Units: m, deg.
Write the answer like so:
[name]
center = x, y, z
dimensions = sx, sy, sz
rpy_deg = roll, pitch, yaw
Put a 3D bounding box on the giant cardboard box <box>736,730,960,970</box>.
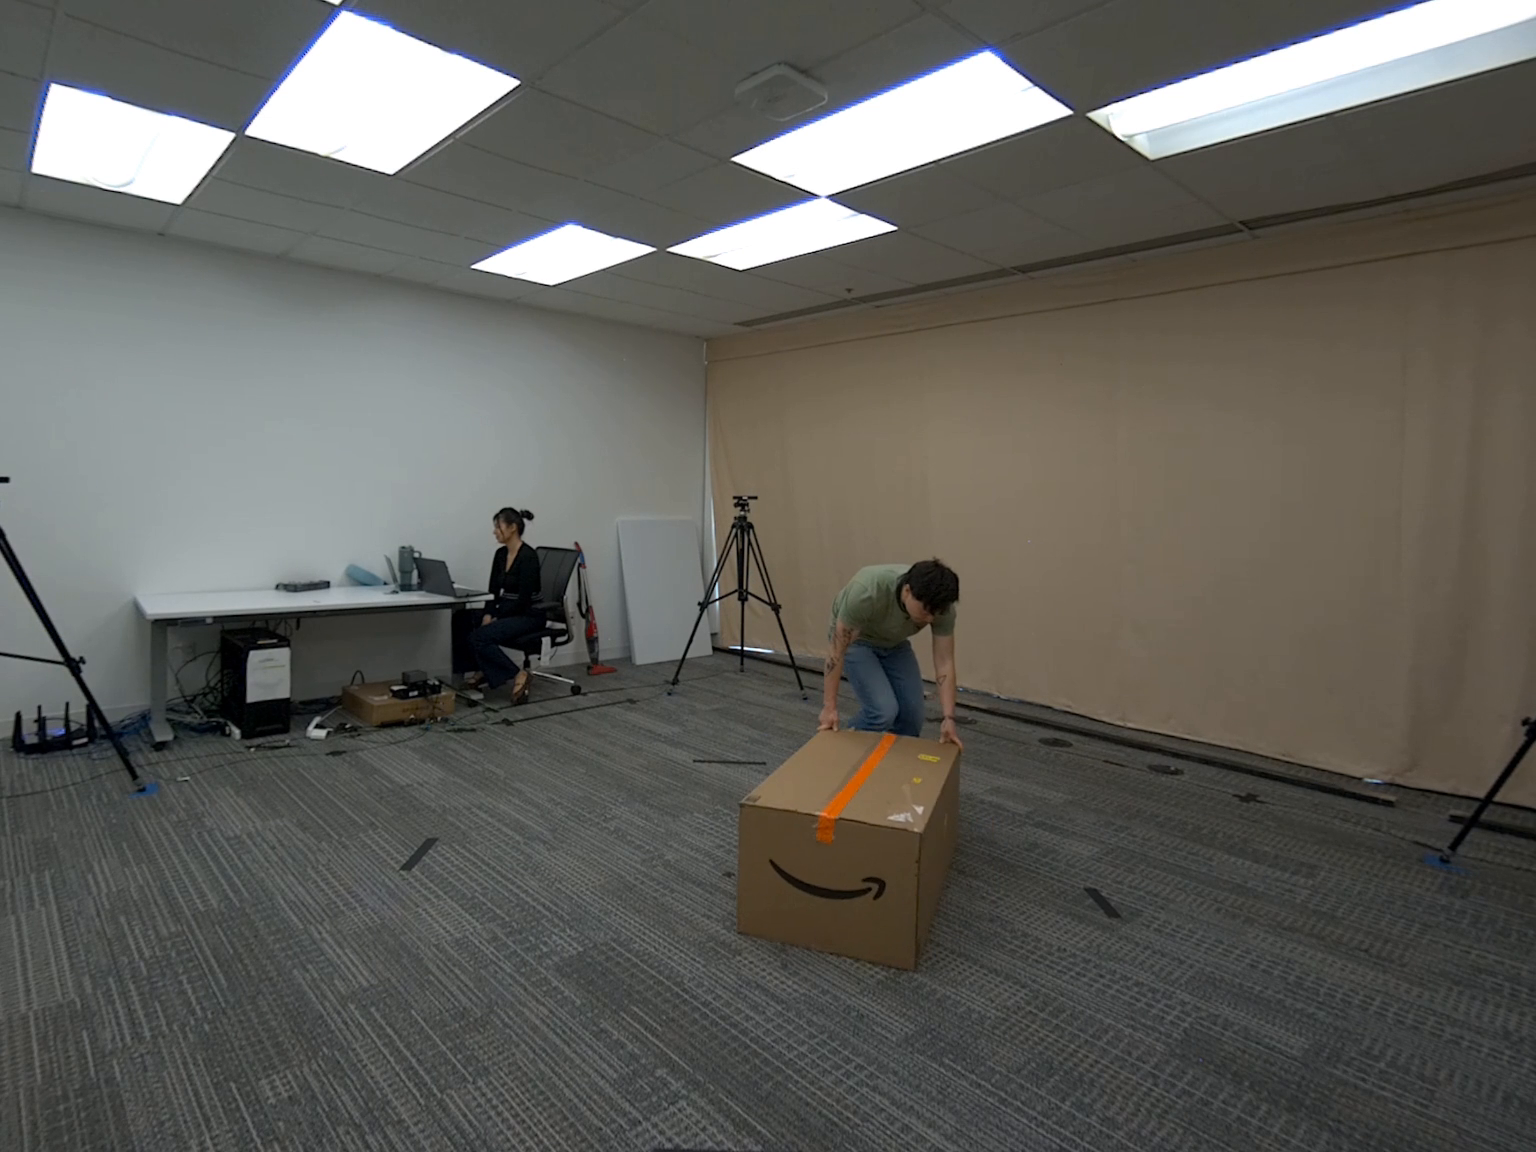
[giant cardboard box]
center = 0.327, 0.906, 3.042
dimensions = 0.587, 0.425, 1.012
rpy_deg = 4, 5, 20
